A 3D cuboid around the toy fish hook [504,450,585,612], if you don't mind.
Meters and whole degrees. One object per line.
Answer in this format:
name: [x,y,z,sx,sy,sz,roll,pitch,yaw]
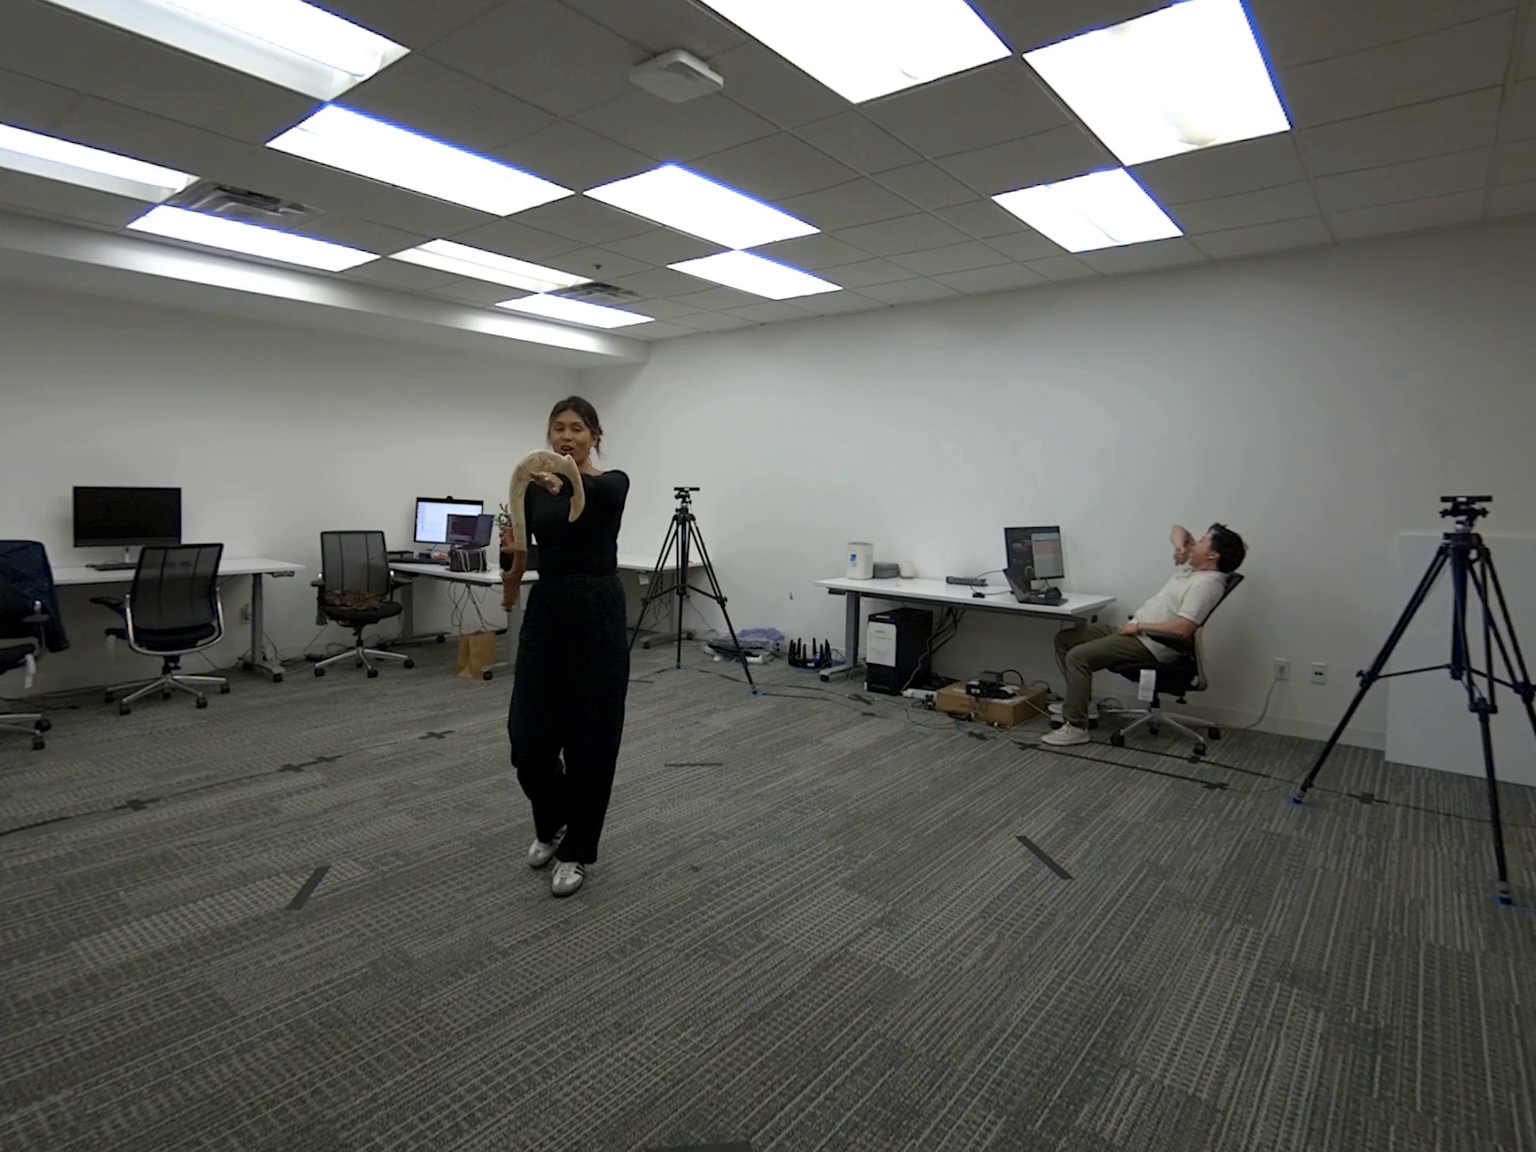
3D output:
toy fish hook: [-0.702,-0.121,2.561,0.223,0.503,0.049,13,8,-5]
